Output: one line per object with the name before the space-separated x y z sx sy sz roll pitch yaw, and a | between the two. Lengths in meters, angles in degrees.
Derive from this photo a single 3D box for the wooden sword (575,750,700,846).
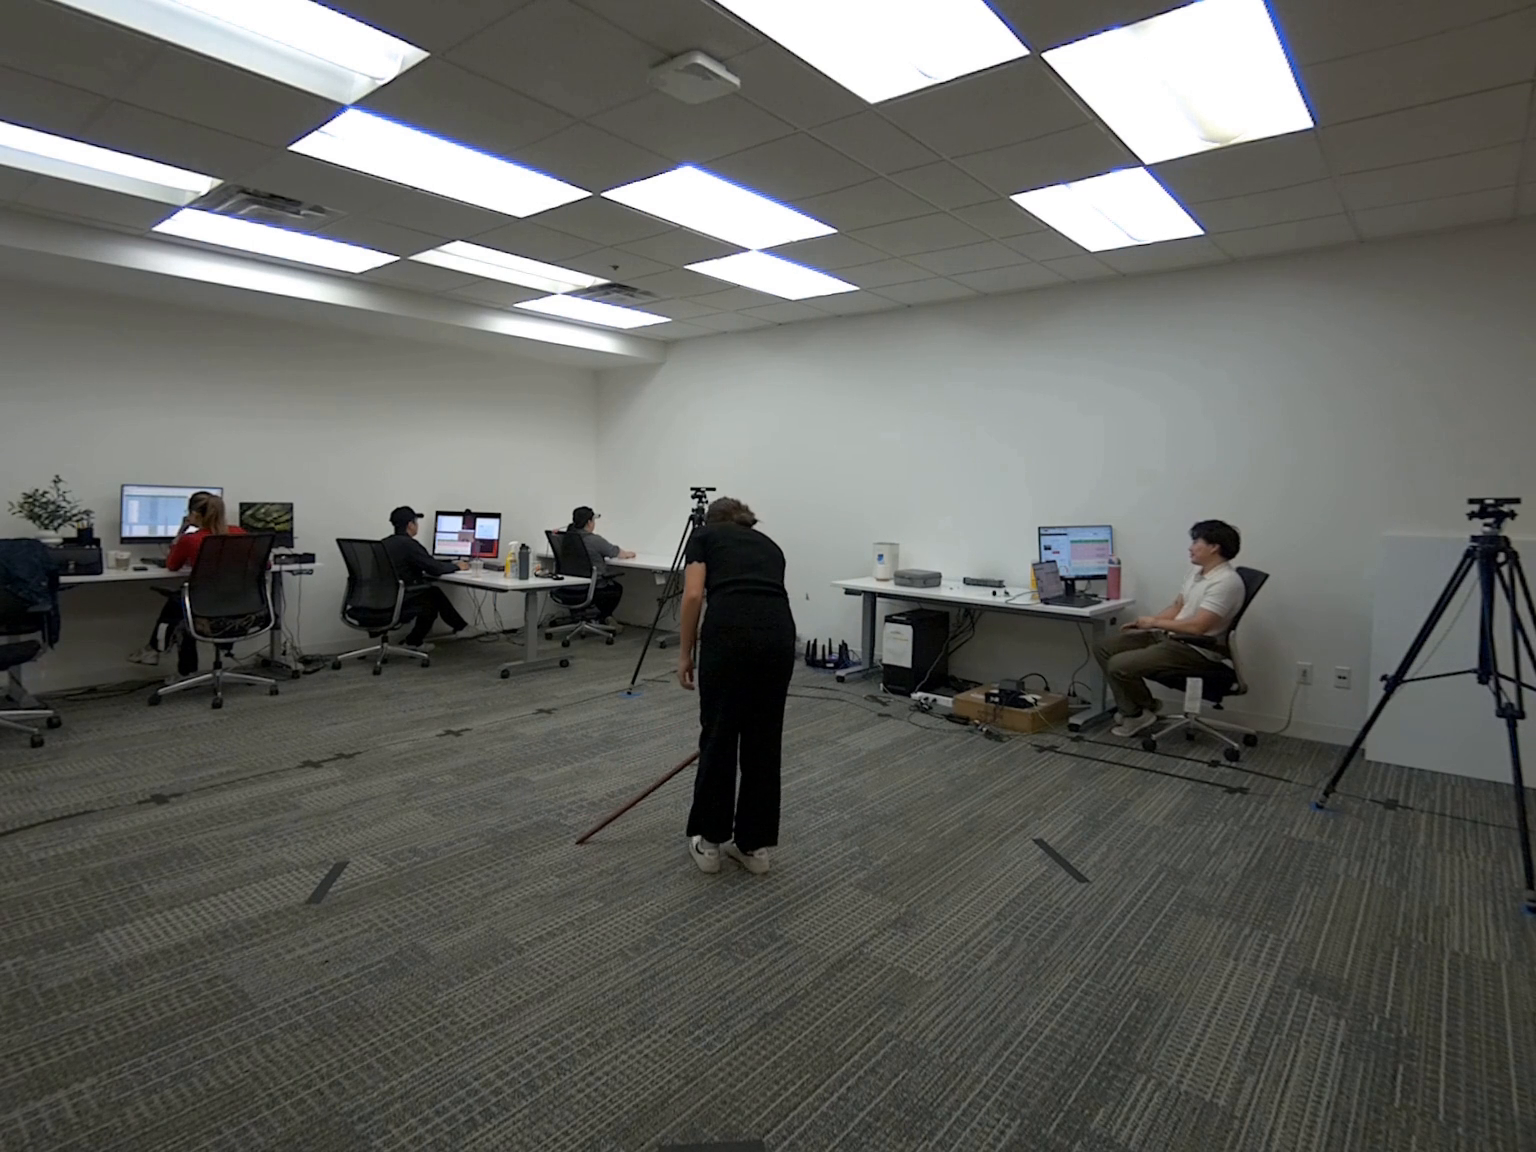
wooden sword | -0.351 0.762 3.432 1.019 0.024 0.051 -34 0 -16
